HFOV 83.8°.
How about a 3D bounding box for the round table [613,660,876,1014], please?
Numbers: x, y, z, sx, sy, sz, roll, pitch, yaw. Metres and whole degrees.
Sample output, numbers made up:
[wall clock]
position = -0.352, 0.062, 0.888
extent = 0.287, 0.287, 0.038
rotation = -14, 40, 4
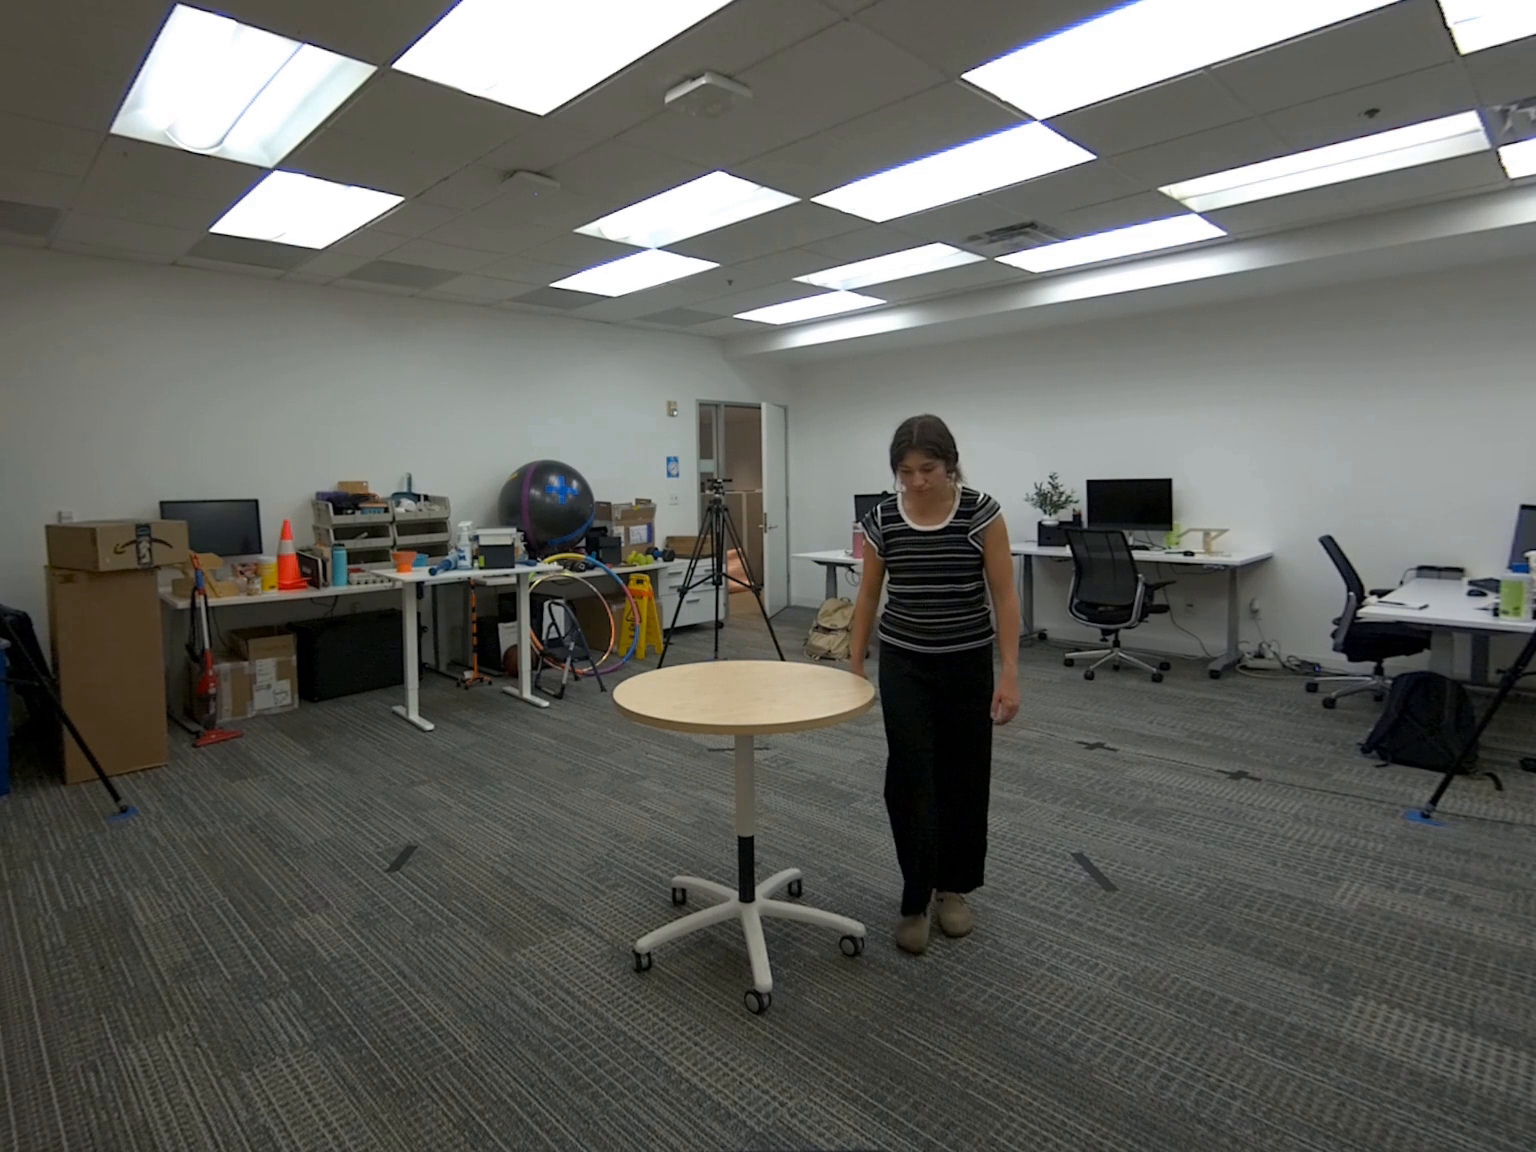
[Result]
[round table]
position = -0.060, 0.723, 2.544
extent = 0.763, 0.791, 0.768
rotation = -1, 5, -2
